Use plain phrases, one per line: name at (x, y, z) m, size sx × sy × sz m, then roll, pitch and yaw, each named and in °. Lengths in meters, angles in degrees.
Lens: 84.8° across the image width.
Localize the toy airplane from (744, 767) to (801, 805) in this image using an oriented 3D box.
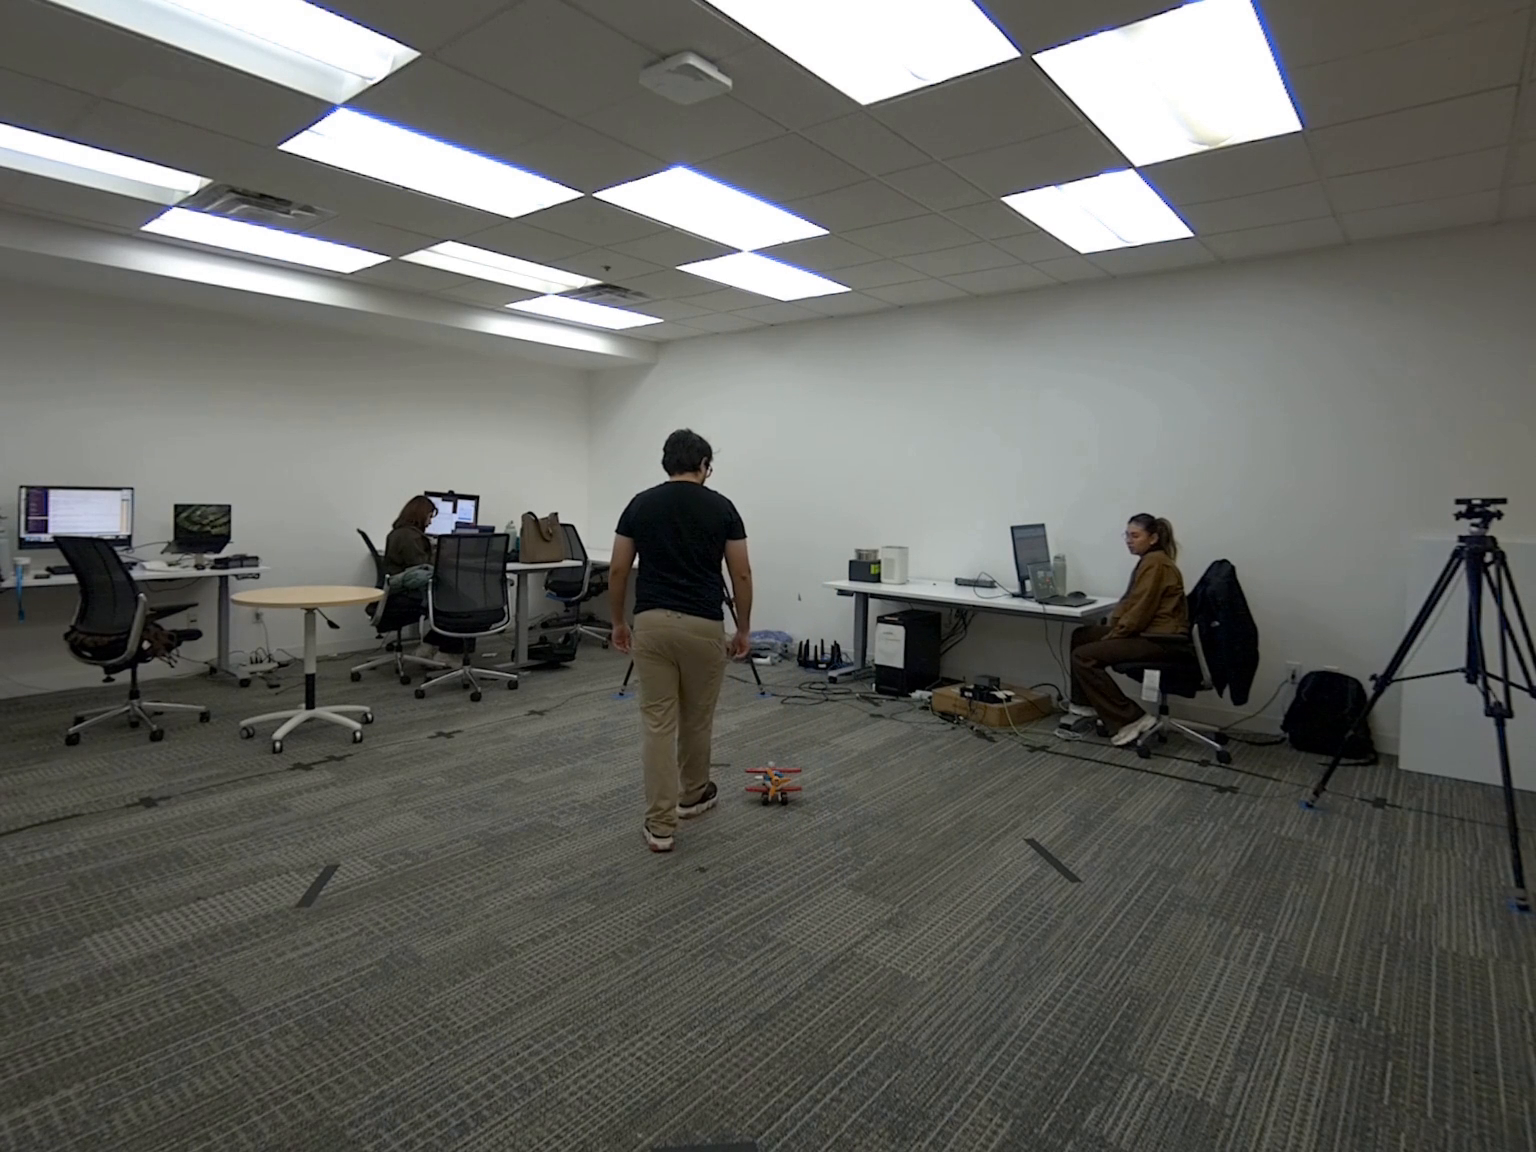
toy airplane at (-0.009, 0.925, 3.847) m, size 0.244 × 0.156 × 0.268 m, roll -2°, pitch 7°, yaw -35°
